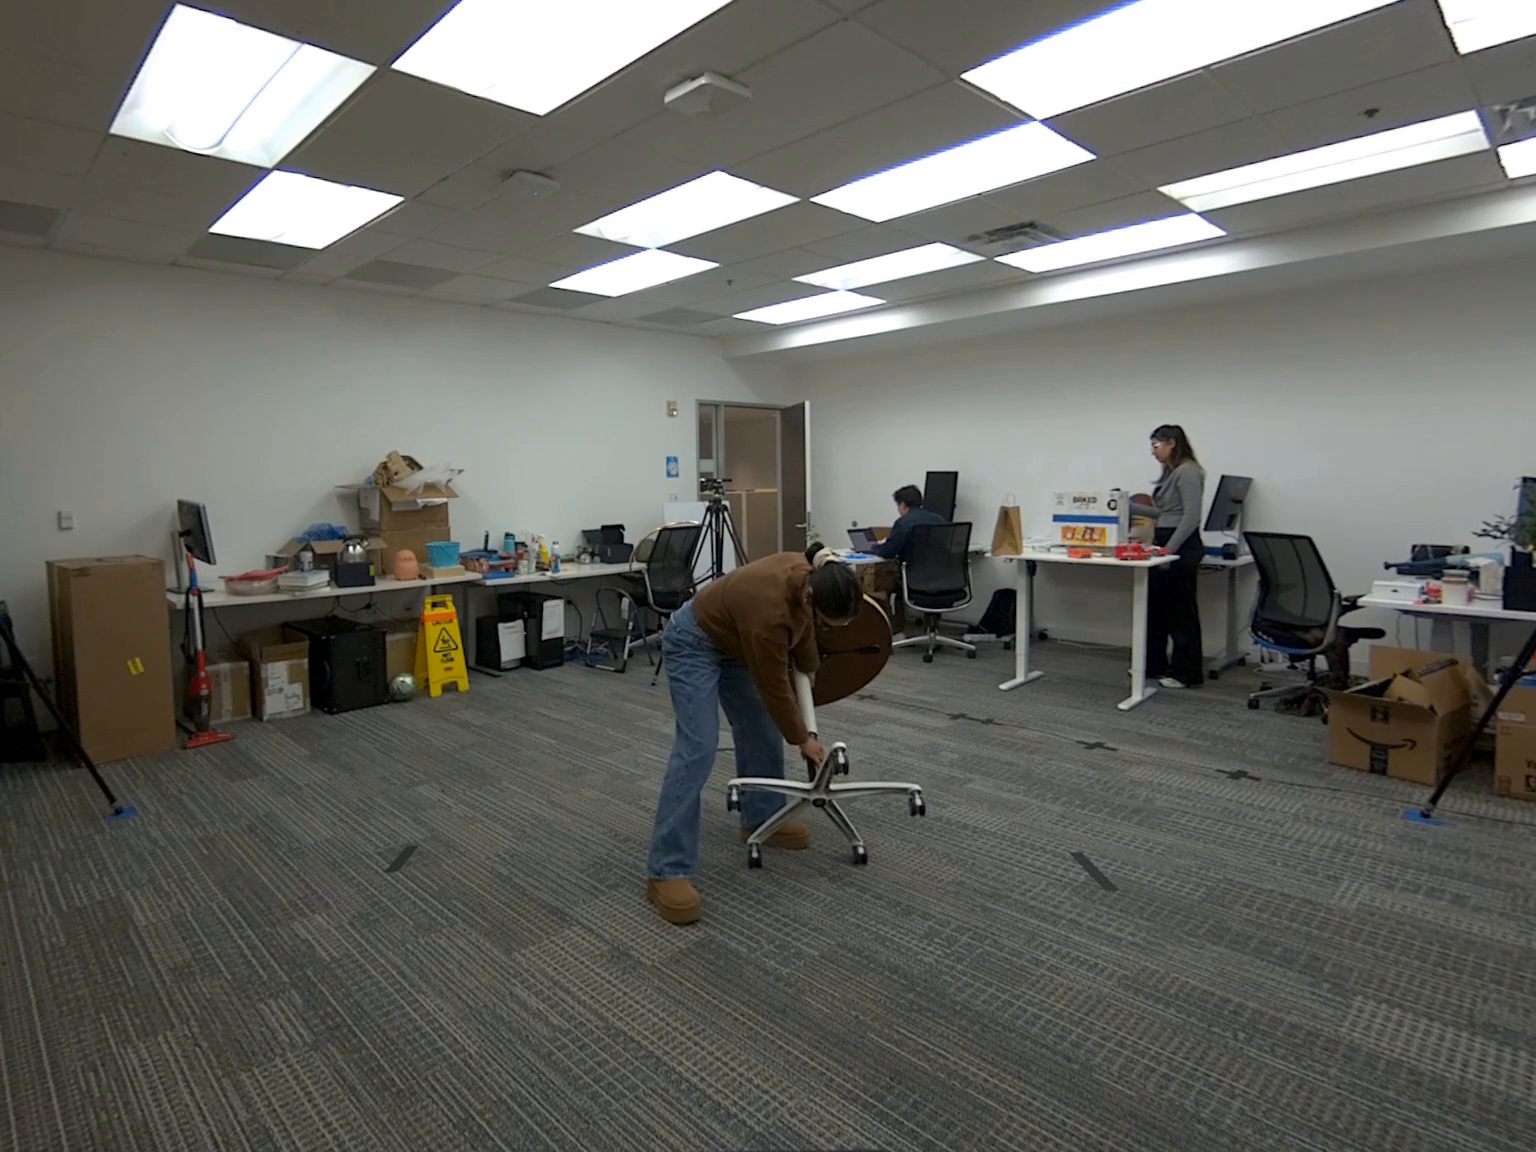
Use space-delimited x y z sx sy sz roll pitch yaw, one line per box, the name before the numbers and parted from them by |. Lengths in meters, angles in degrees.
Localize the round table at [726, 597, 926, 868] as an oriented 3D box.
round table | 0.152 0.566 3.186 0.763 0.744 0.817 -1 43 -3
